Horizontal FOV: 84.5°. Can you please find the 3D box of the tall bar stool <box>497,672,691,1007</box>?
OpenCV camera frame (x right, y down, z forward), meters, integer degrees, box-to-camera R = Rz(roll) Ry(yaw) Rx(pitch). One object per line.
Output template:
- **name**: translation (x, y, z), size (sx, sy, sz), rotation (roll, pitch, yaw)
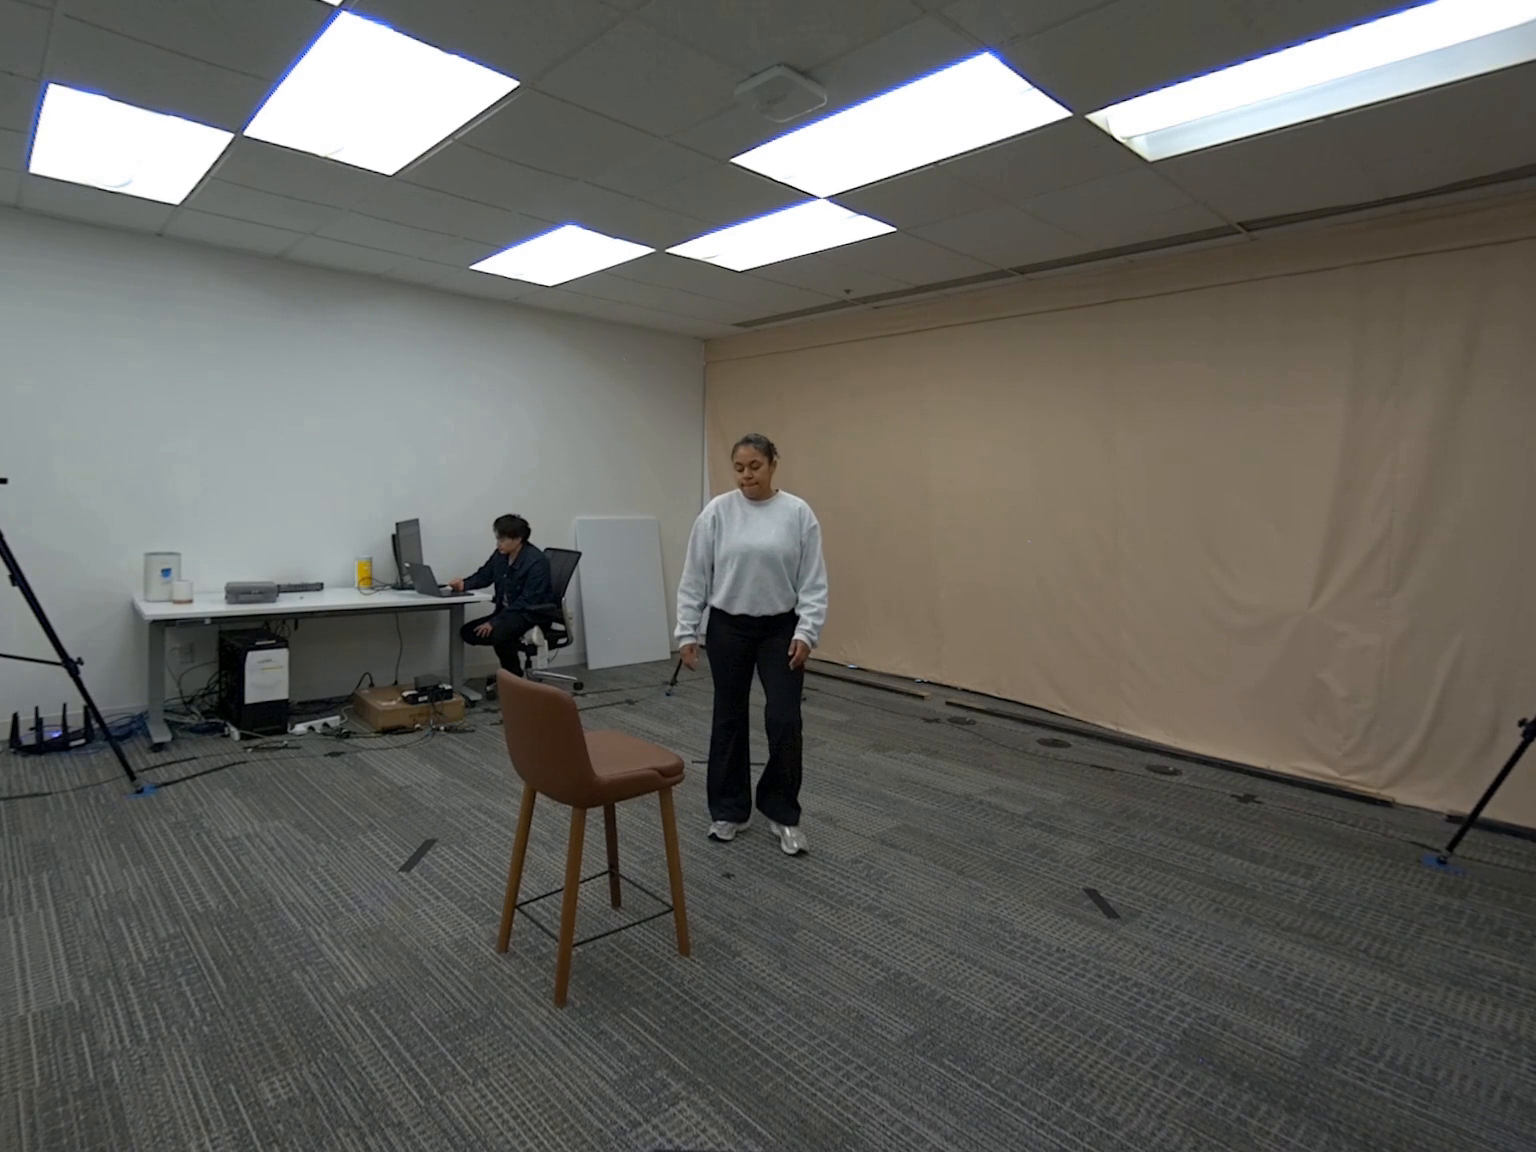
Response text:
- **tall bar stool**: translation (-0.538, 0.713, 2.539), size (0.457, 0.887, 0.468), rotation (-5, 6, -42)
